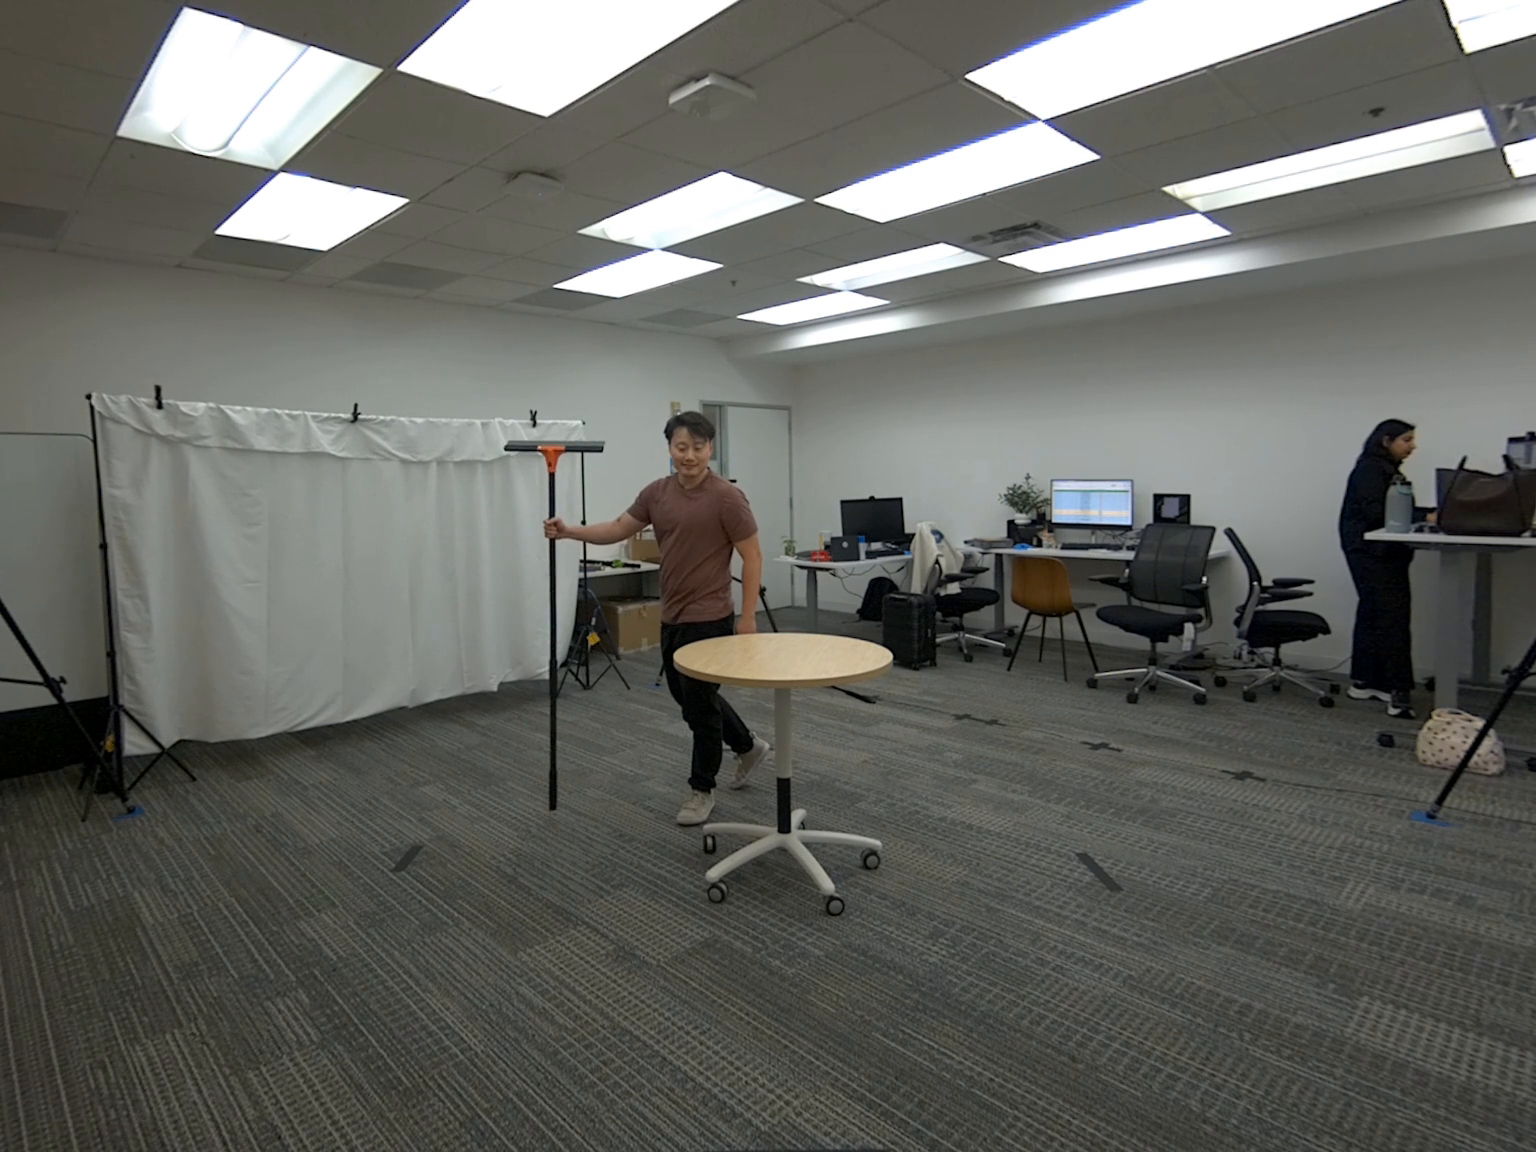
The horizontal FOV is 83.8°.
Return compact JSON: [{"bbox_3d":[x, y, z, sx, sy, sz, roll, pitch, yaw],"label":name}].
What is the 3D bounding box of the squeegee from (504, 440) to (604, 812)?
[{"bbox_3d":[-0.875,0.230,3.483,0.445,1.530,0.052,0,5,19],"label":"squeegee"}]
